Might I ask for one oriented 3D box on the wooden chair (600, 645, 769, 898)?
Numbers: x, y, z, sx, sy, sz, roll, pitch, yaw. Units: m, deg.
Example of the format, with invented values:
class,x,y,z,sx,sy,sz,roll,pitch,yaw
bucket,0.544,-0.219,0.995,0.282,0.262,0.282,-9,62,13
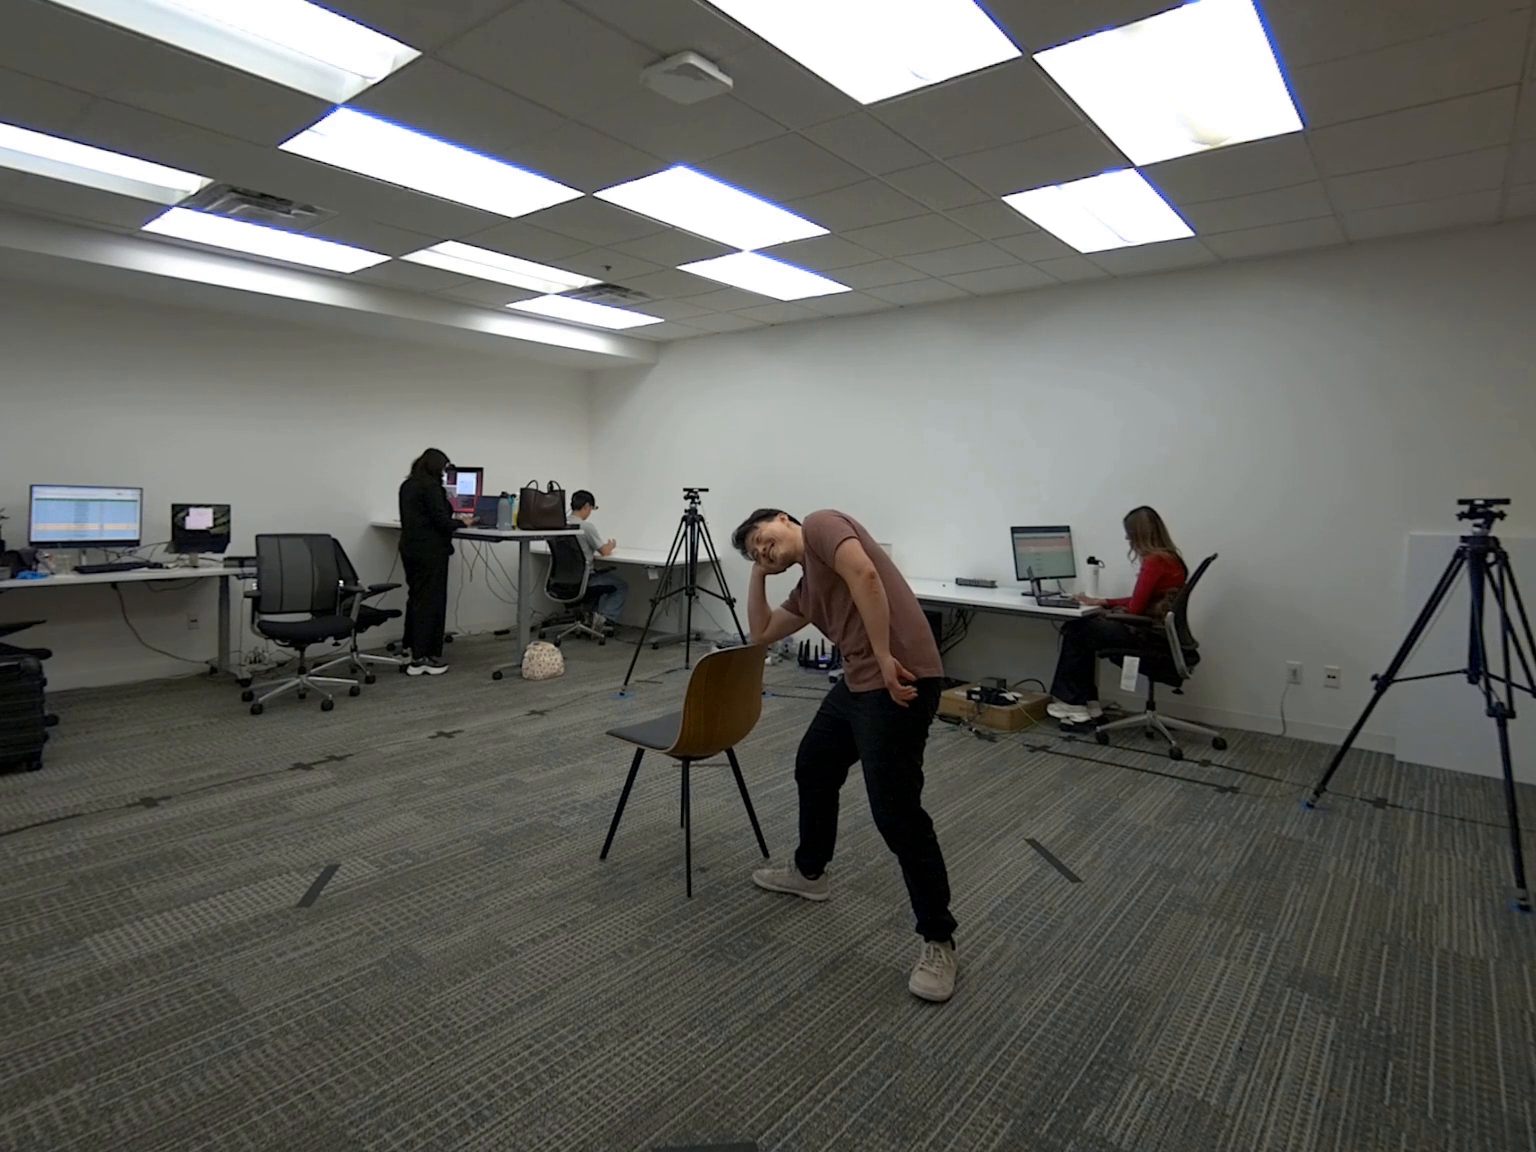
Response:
class,x,y,z,sx,sy,sz,roll,pitch,yaw
wooden chair,-0.319,0.633,3.177,0.542,0.873,0.464,10,8,39
